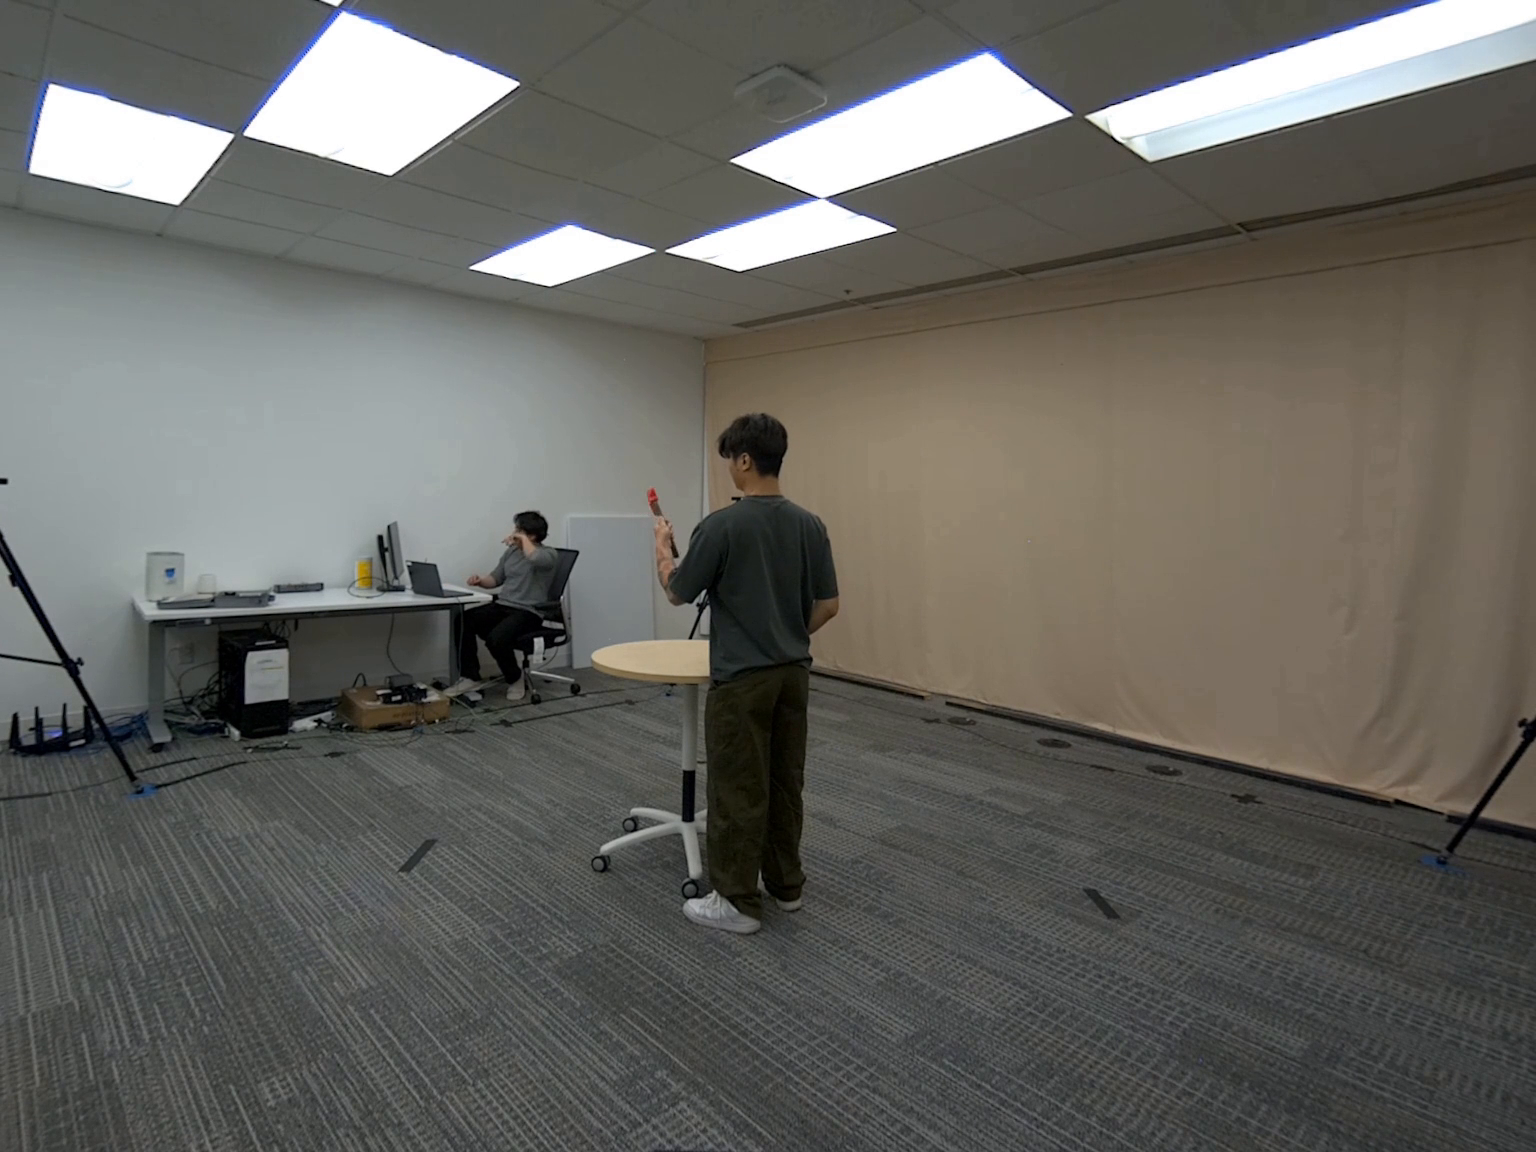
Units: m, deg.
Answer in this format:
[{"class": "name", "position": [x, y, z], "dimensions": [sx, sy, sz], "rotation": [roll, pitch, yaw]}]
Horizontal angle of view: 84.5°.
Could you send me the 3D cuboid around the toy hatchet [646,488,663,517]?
[{"class": "toy hatchet", "position": [-0.393, -0.183, 3.017], "dimensions": [0.029, 0.272, 0.131], "rotation": [-15, -7, -20]}]
